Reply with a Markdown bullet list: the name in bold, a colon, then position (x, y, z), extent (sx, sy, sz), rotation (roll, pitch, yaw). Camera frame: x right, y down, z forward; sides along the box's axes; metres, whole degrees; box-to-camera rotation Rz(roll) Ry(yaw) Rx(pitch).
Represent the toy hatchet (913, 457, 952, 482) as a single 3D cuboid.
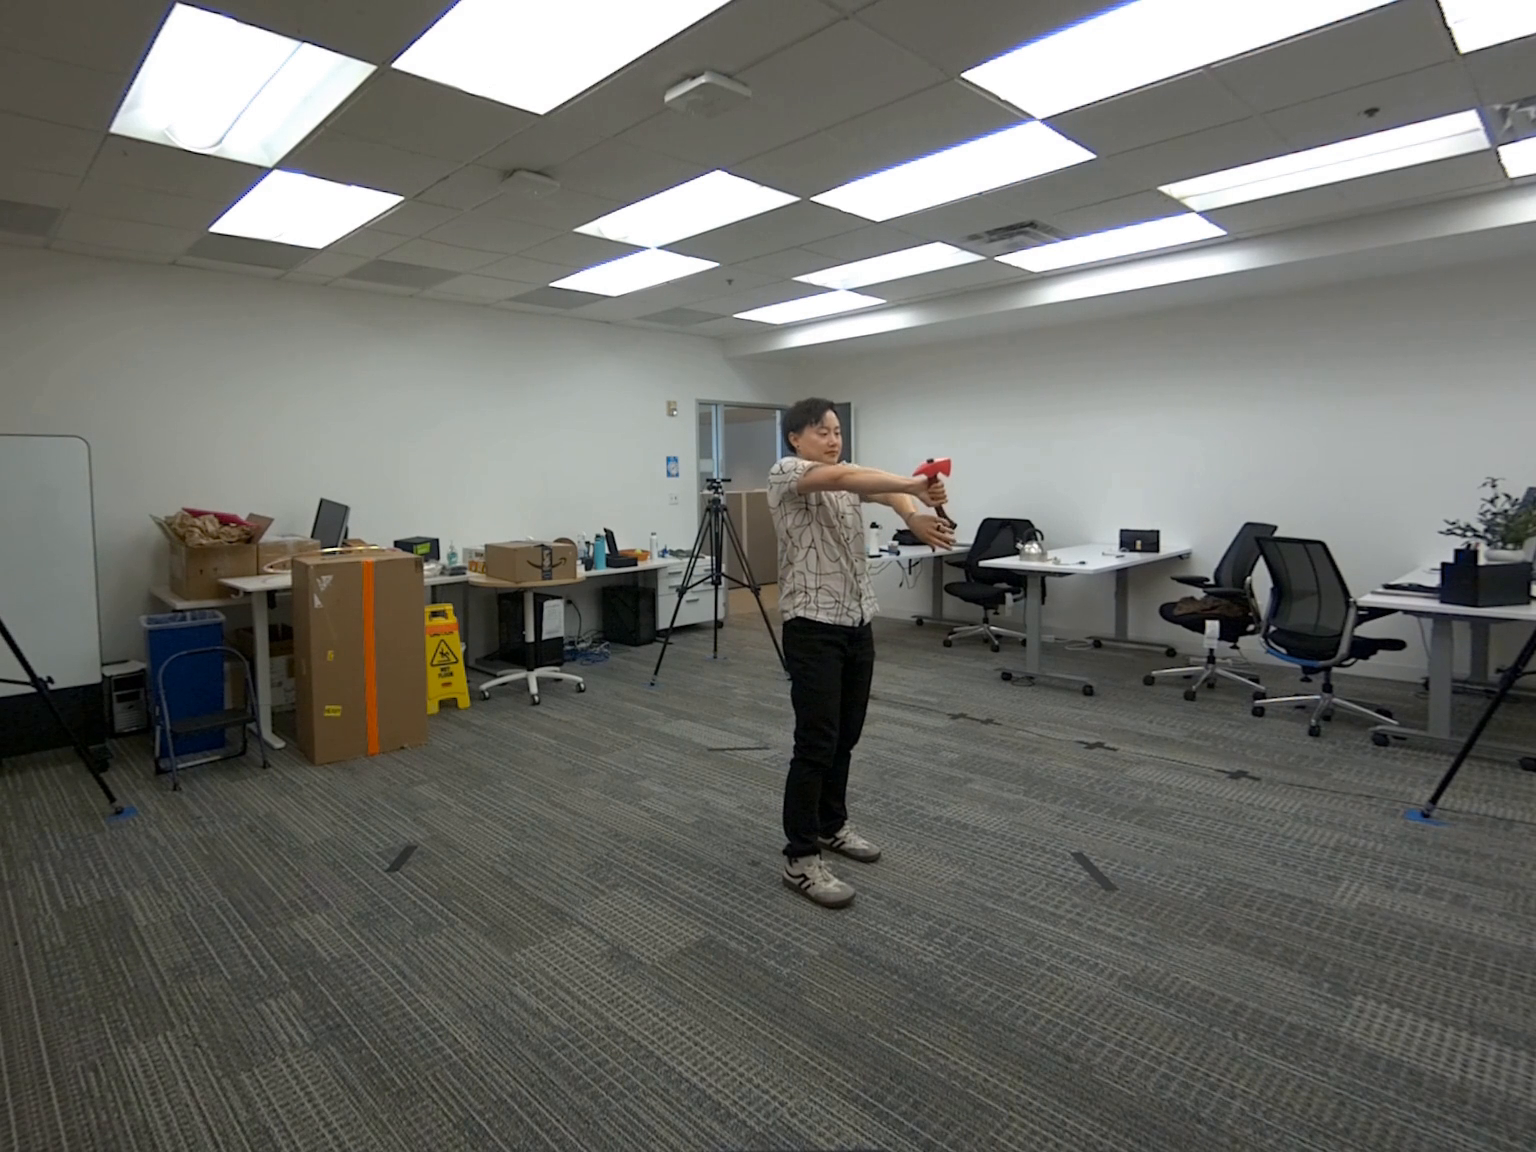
- **toy hatchet**: position (0.559, -0.269, 2.708), extent (0.131, 0.262, 0.030), rotation (-40, 27, -1)
